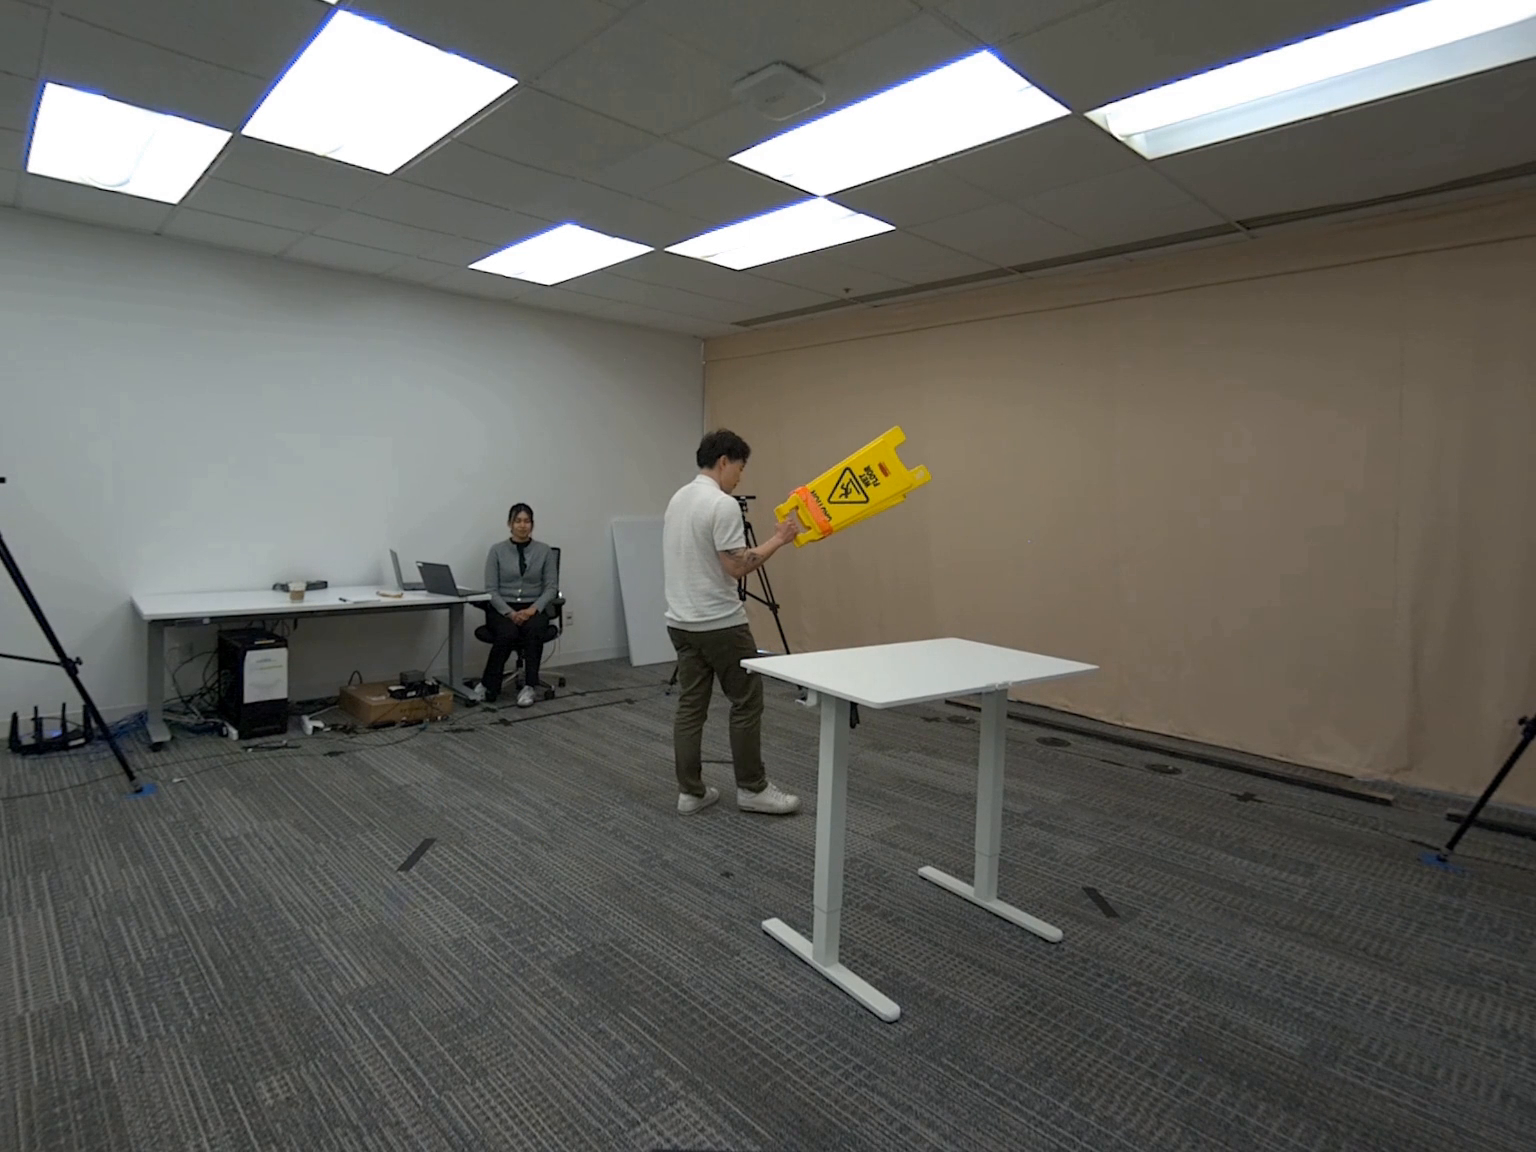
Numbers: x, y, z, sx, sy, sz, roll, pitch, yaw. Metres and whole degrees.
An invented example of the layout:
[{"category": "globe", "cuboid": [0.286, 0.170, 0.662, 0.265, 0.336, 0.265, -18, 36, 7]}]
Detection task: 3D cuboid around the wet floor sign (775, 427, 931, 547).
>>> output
[{"category": "wet floor sign", "cuboid": [0.339, -0.351, 3.692, 0.642, 0.284, 0.289, -30, -6, -17]}]
